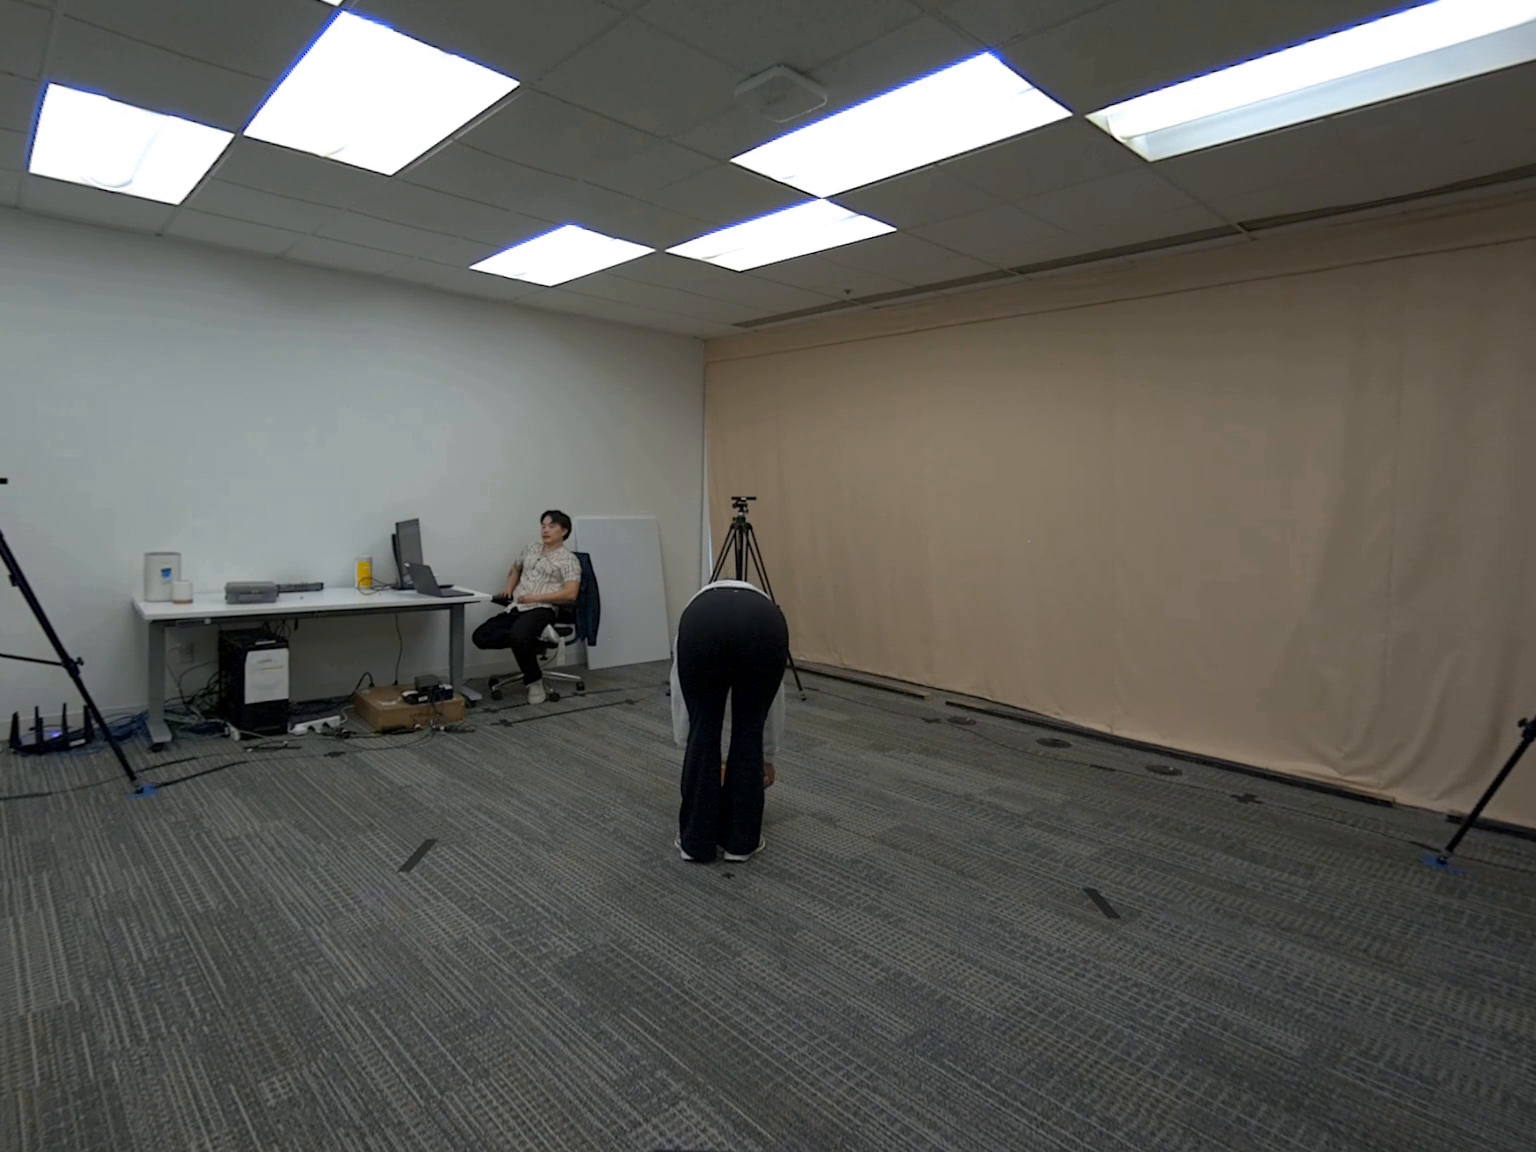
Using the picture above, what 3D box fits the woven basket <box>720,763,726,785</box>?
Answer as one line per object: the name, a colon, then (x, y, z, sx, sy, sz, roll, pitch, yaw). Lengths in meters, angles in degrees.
woven basket: (-0.178, 0.907, 3.645, 0.352, 0.073, 0.252, 3, 7, 5)
